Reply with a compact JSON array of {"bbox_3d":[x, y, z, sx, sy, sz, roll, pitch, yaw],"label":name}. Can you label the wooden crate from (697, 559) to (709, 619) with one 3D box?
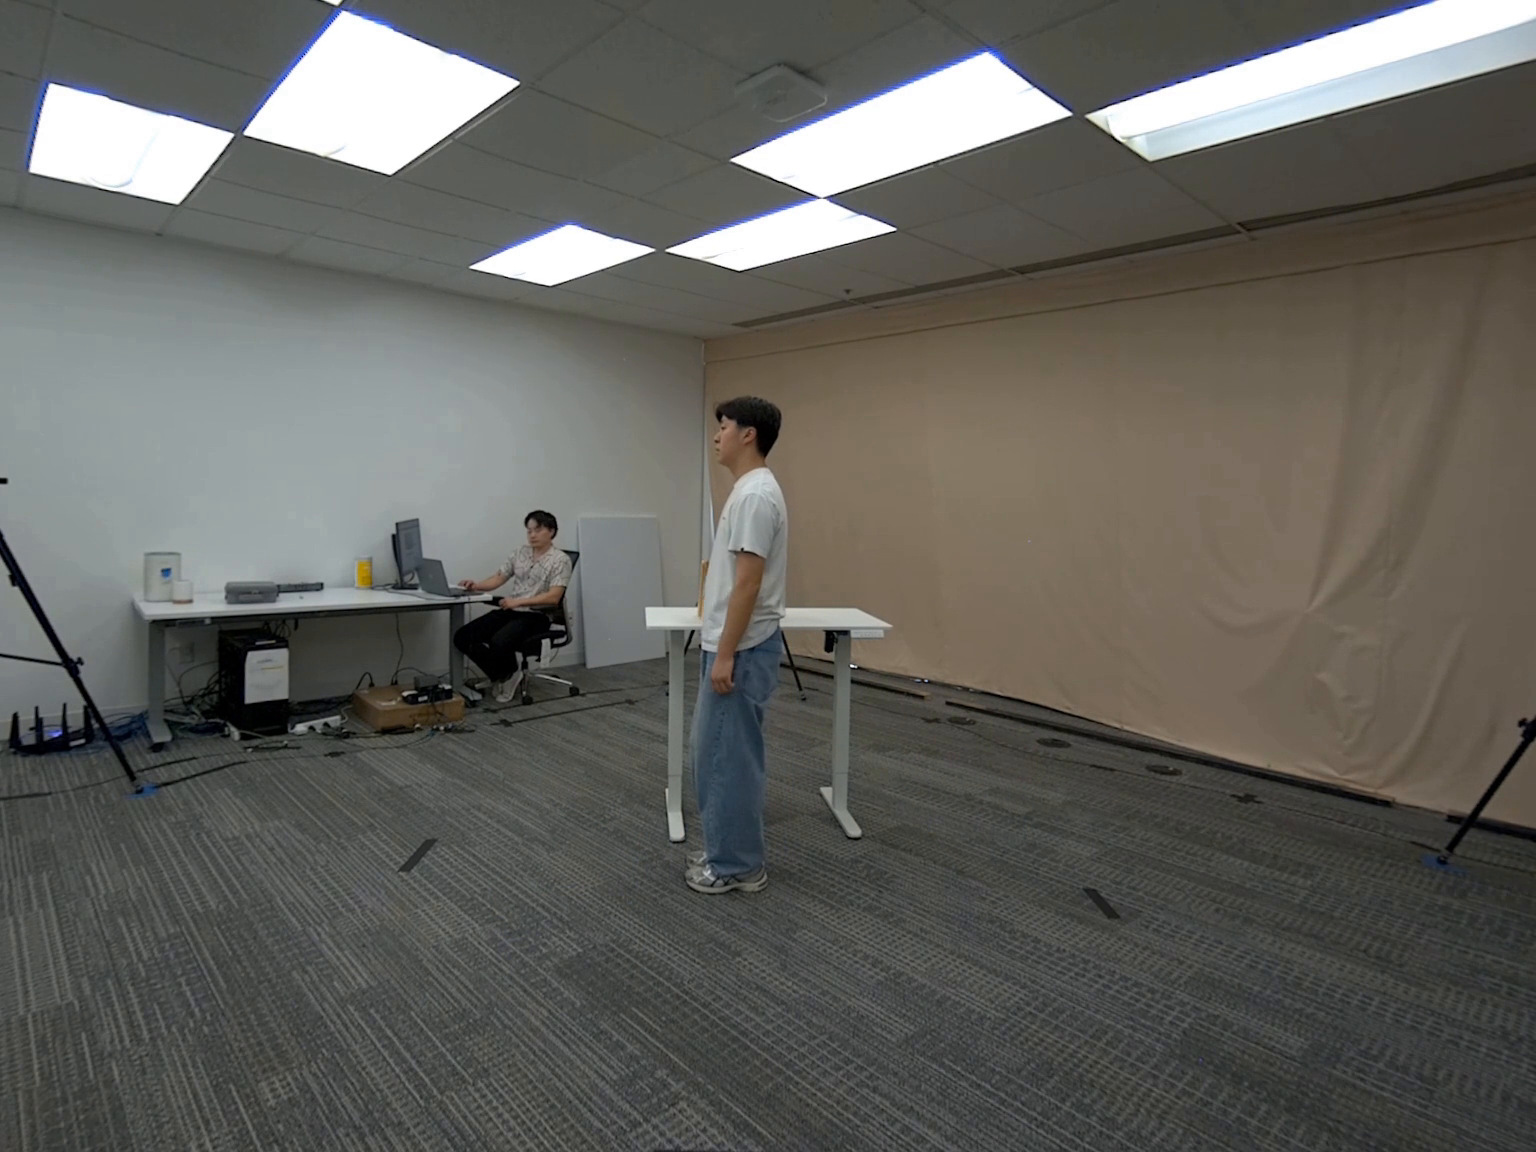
[{"bbox_3d":[-0.134,0.057,3.543,0.322,0.272,0.305,0,5,-10],"label":"wooden crate"}]
